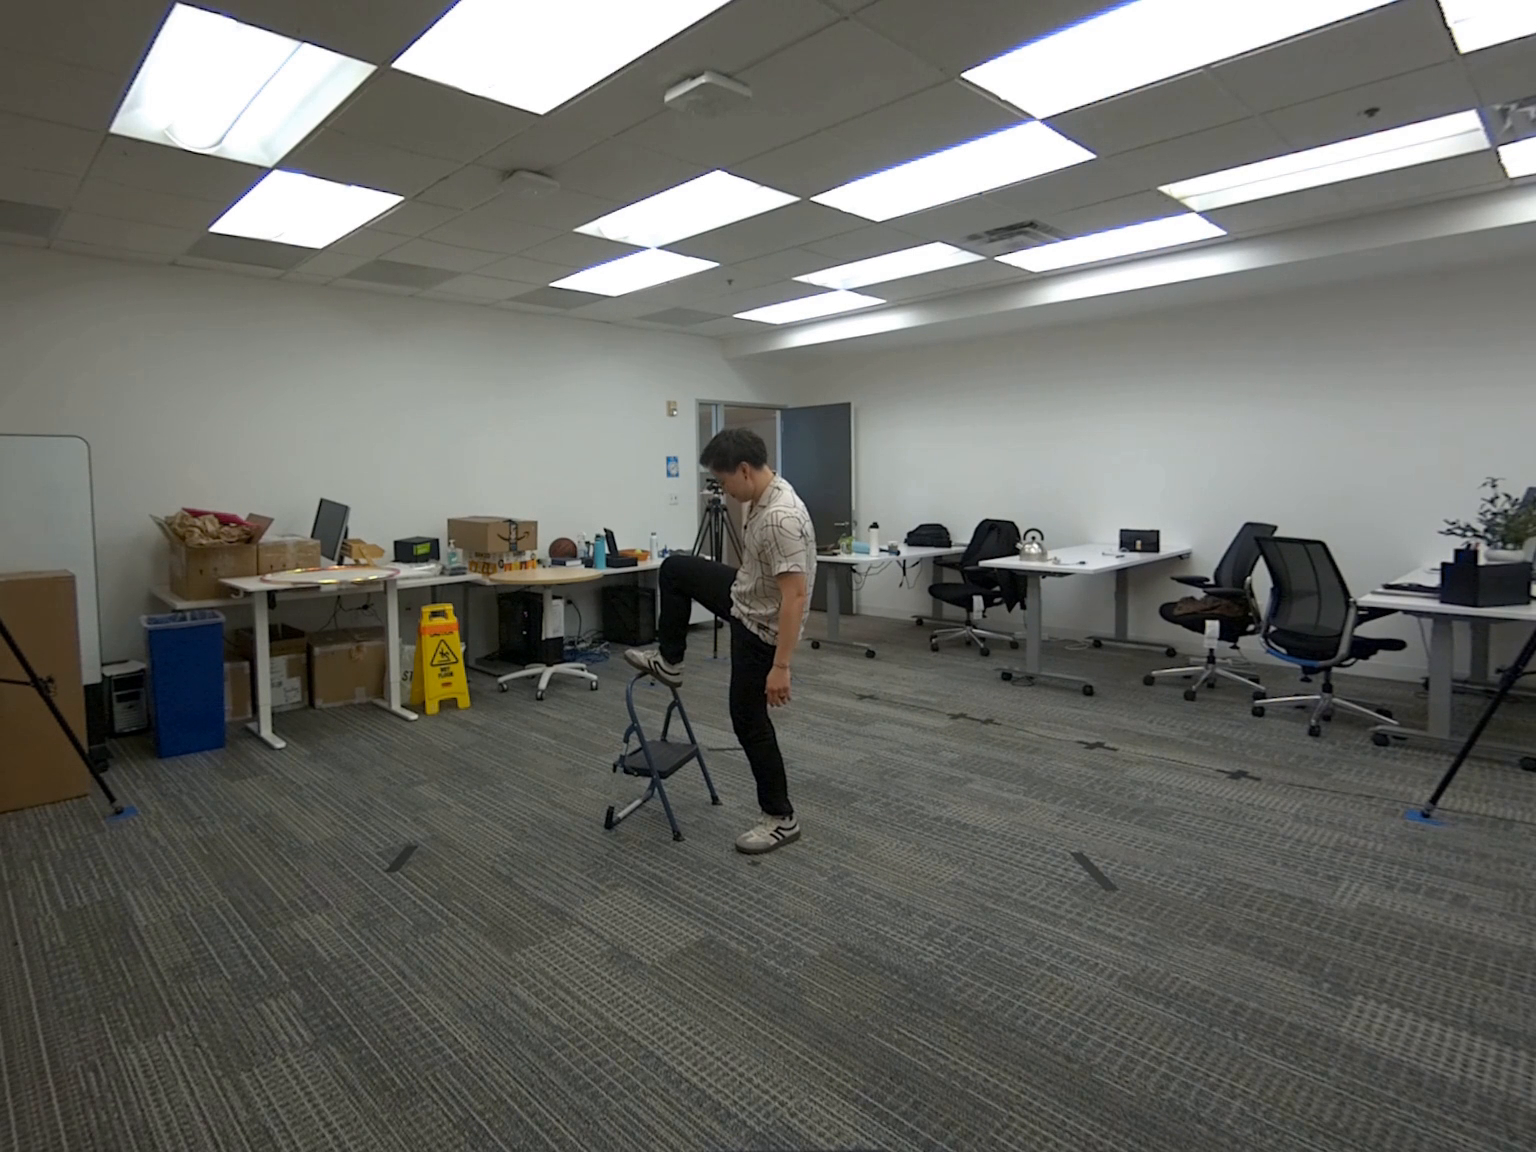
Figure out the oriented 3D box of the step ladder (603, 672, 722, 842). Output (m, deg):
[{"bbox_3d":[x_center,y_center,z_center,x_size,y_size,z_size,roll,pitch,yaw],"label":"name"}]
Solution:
[{"bbox_3d":[-0.439,0.699,3.546,0.356,0.604,0.424,1,4,19],"label":"step ladder"}]
